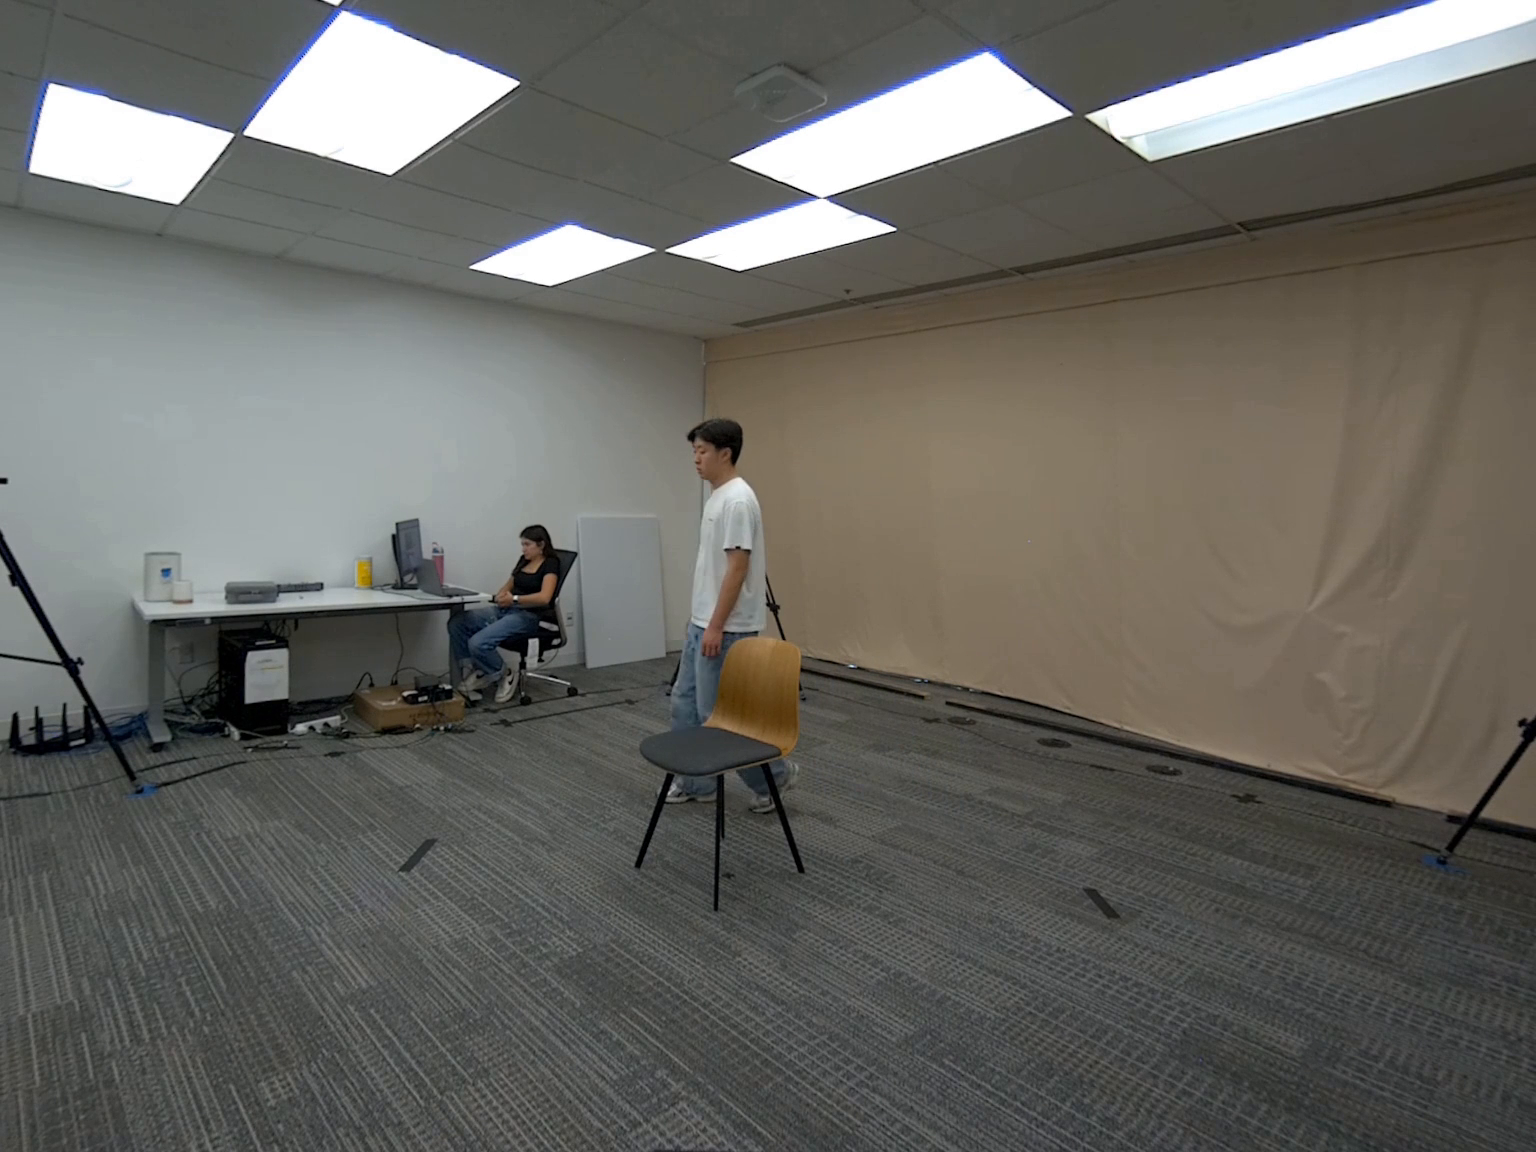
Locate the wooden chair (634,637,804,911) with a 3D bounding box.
[{"bbox_3d":[-0.180,0.679,3.108,0.510,0.877,0.490,4,1,-45],"label":"wooden chair"}]
